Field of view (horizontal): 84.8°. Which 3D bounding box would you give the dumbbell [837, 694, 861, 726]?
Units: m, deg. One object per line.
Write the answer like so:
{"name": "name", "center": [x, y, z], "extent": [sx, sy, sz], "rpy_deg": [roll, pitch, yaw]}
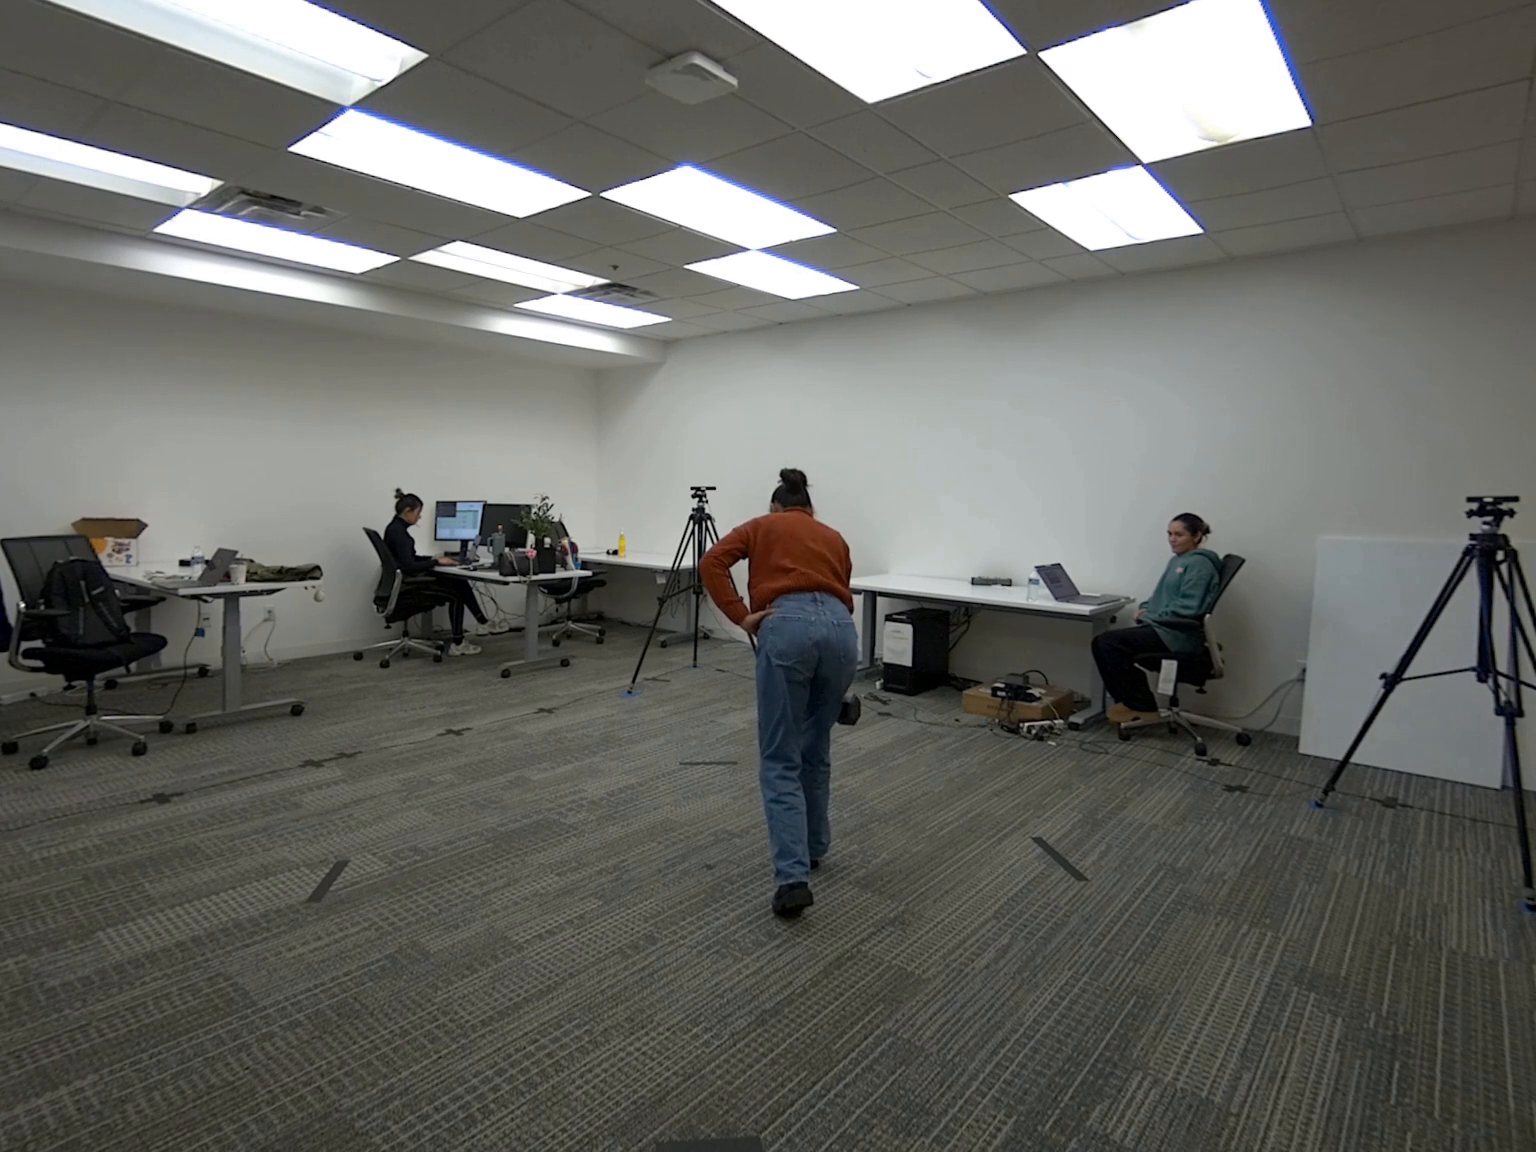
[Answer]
{"name": "dumbbell", "center": [0.201, 0.504, 3.263], "extent": [0.302, 0.123, 0.105], "rpy_deg": [0, -4, 32]}
